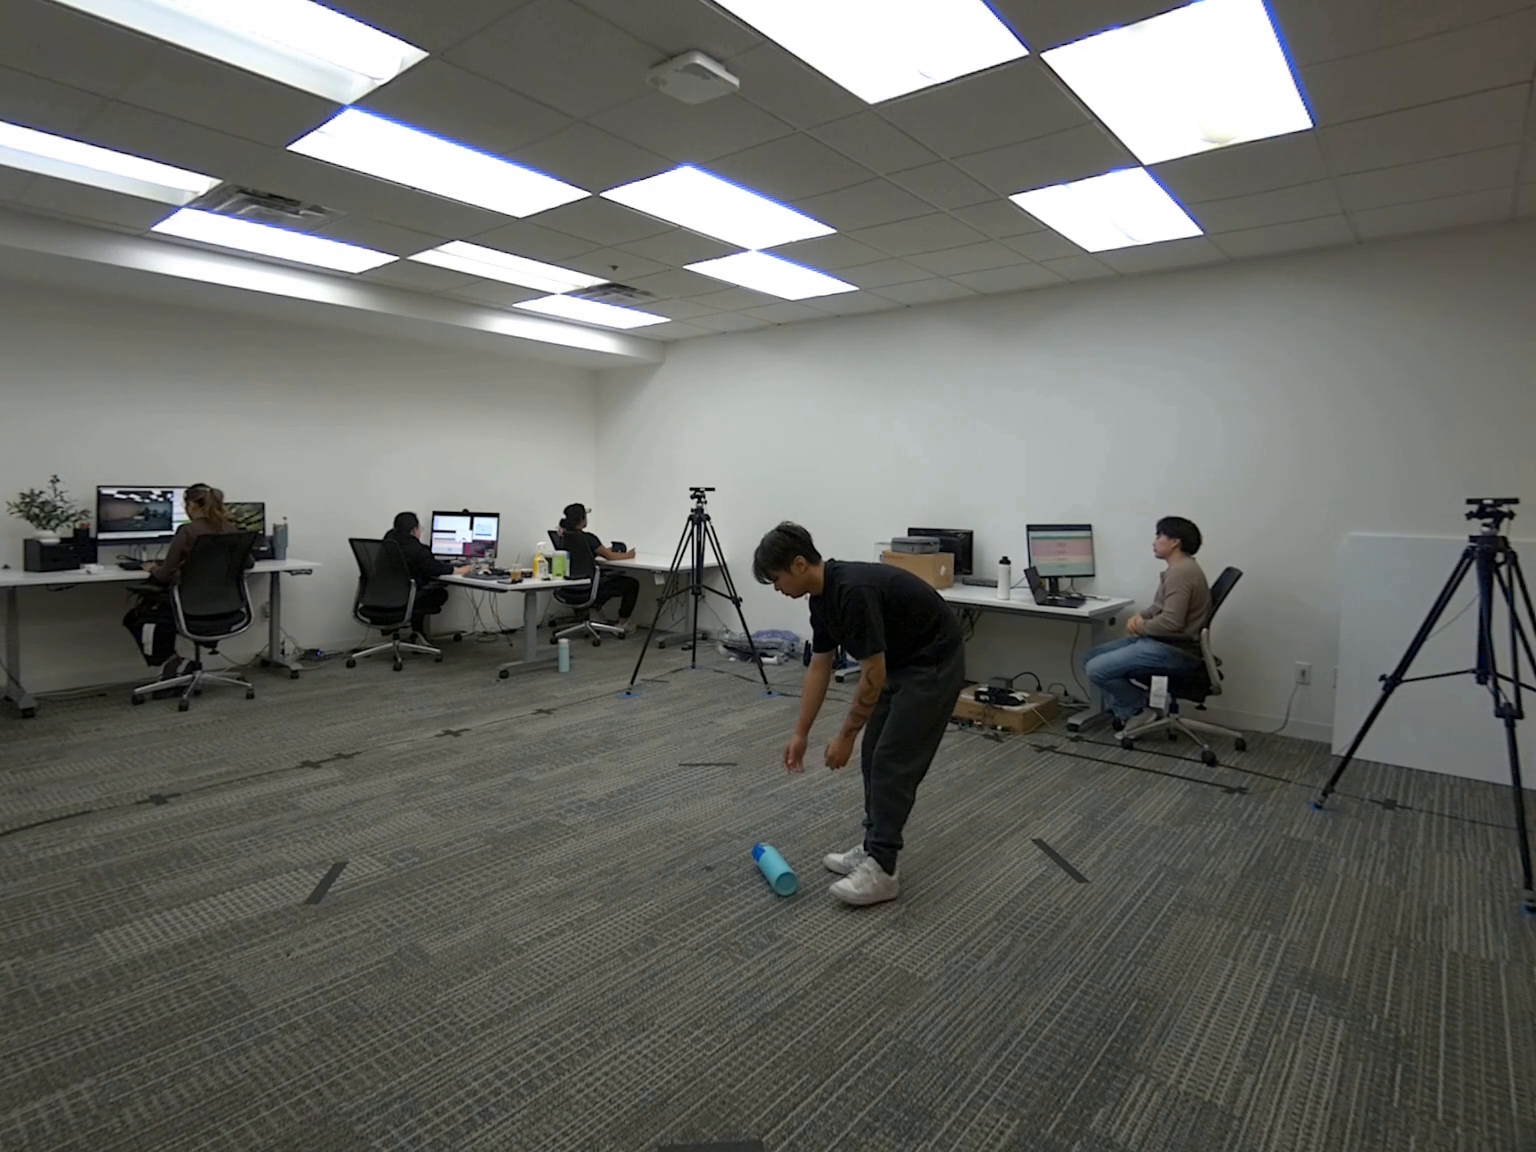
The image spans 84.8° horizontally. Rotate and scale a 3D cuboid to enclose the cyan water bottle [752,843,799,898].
[{"bbox_3d":[0.011,1.031,3.042,0.091,0.092,0.289,0,5,-18],"label":"cyan water bottle"}]
